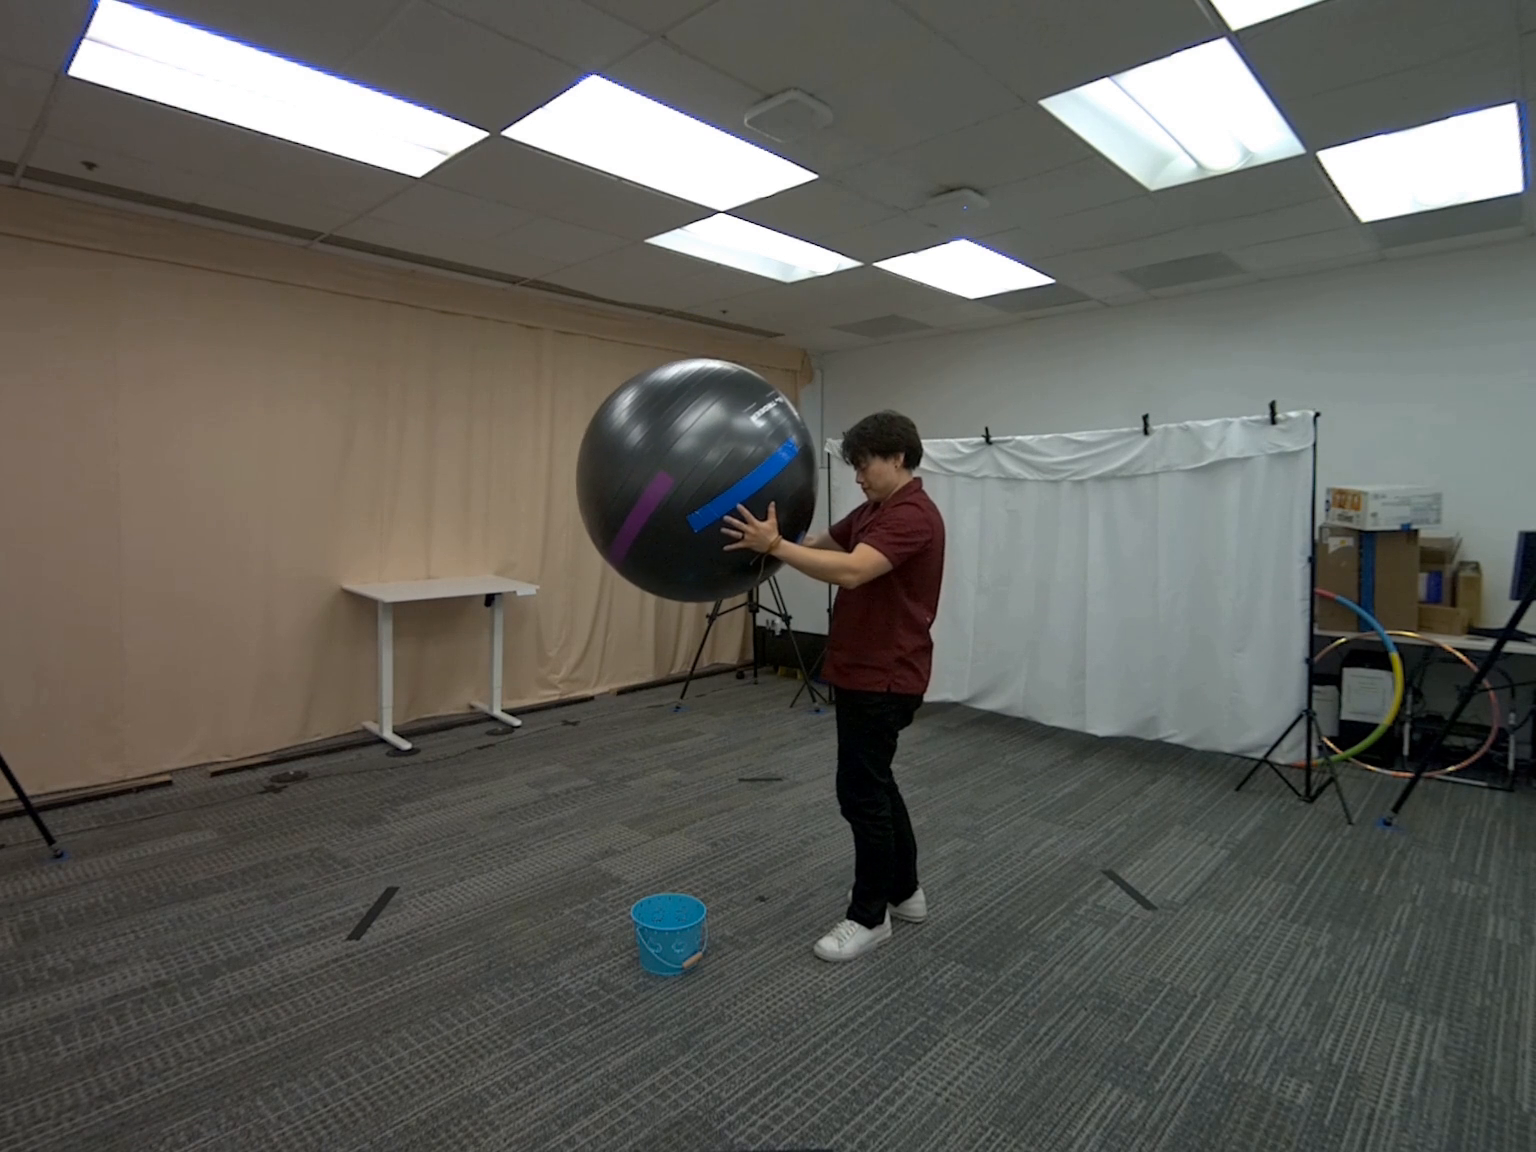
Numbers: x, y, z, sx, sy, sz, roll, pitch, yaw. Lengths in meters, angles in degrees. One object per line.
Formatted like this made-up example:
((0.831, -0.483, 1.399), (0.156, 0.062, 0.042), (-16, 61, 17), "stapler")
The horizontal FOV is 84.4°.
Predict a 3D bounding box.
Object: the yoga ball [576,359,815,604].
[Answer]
((-0.225, -0.292, 2.652), (0.757, 0.756, 0.760), (0, 4, -2), "yoga ball")
